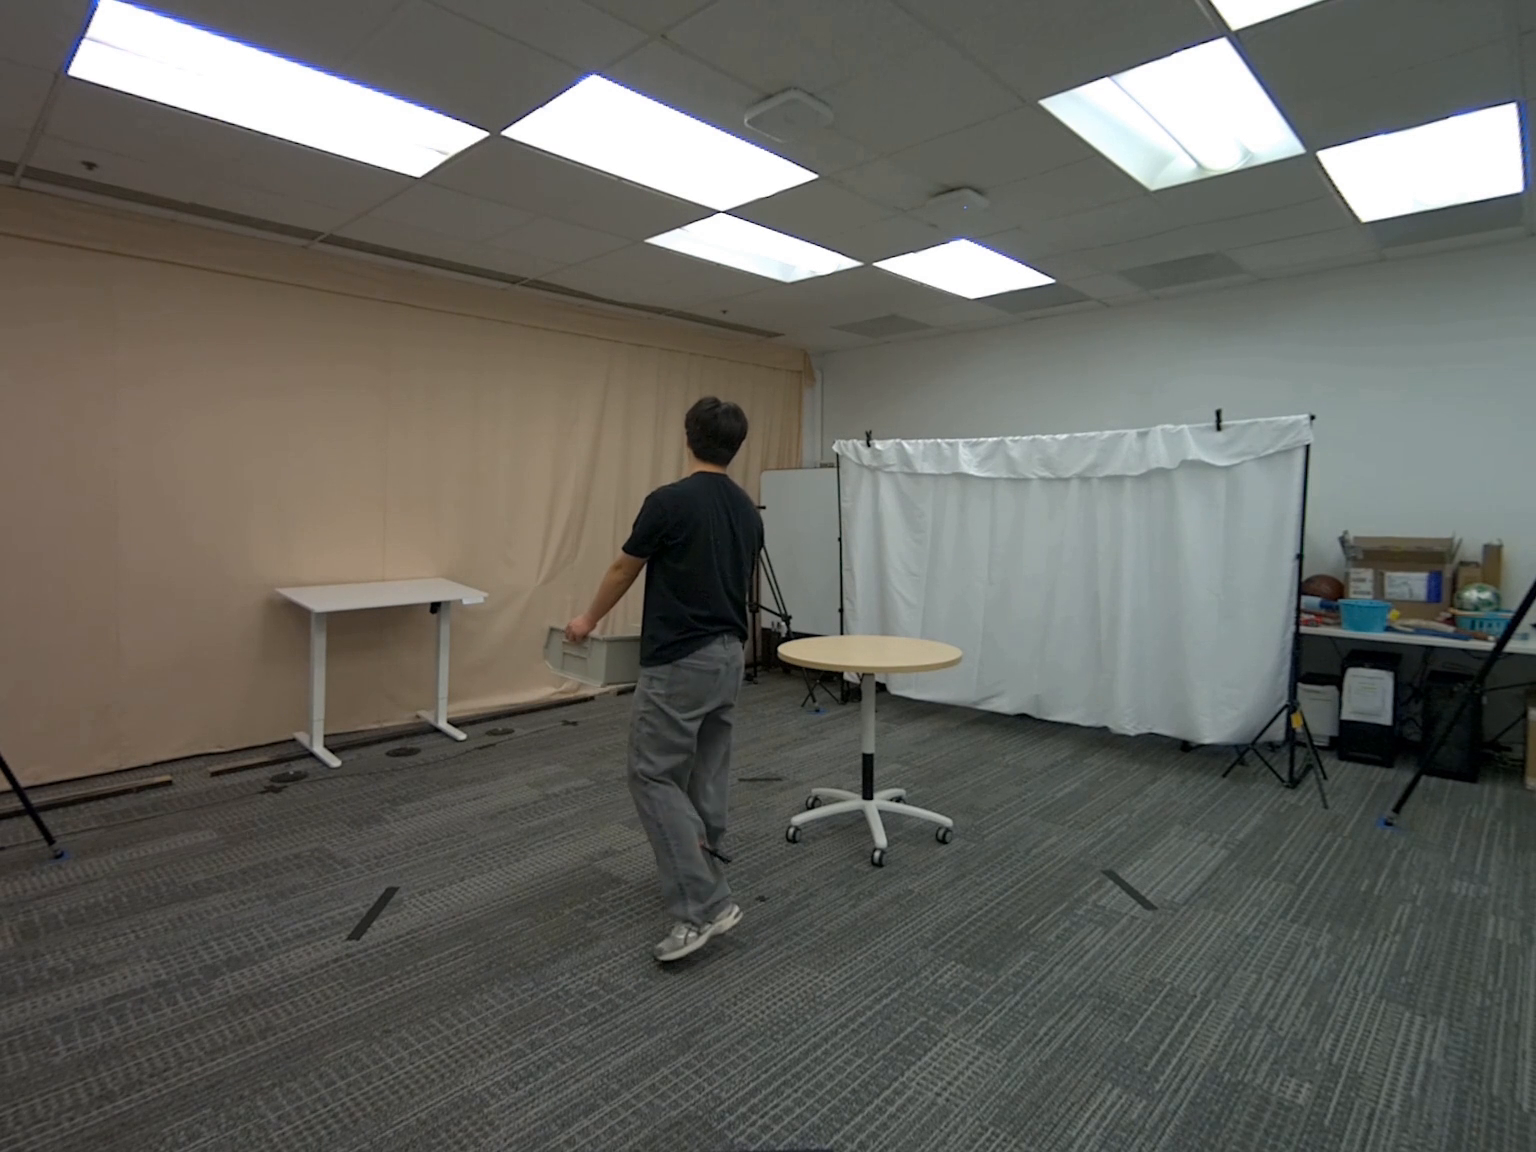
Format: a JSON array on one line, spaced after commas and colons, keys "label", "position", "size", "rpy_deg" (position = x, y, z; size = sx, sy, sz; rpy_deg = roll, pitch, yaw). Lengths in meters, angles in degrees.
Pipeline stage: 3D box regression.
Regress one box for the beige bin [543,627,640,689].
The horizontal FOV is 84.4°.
[{"label": "beige bin", "position": [-0.553, 0.285, 3.127], "size": [0.408, 0.189, 0.390], "rpy_deg": [2, 4, -45]}]
